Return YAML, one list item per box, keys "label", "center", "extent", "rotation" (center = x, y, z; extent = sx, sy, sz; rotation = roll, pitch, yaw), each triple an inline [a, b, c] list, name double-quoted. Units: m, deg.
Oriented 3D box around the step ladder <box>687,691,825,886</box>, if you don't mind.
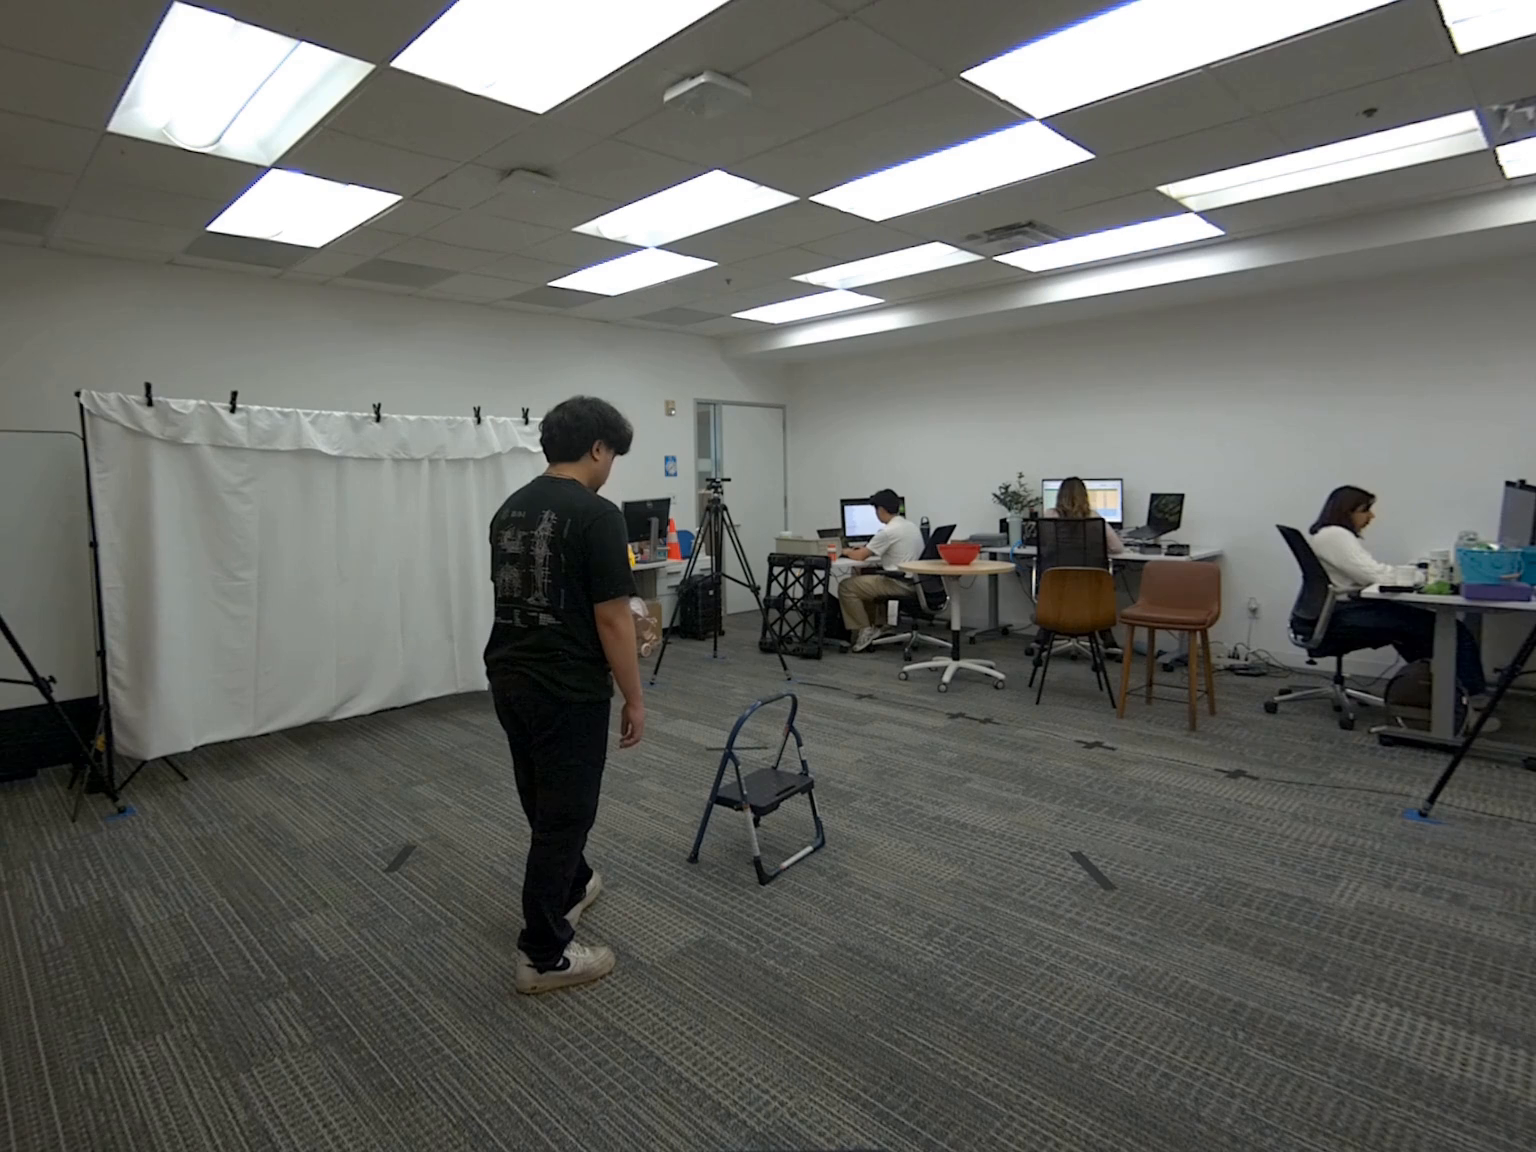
- label: "step ladder"
  center: [-0.041, 0.730, 3.172]
  extent: [0.359, 0.604, 0.420]
  rotation: [2, 5, 35]
